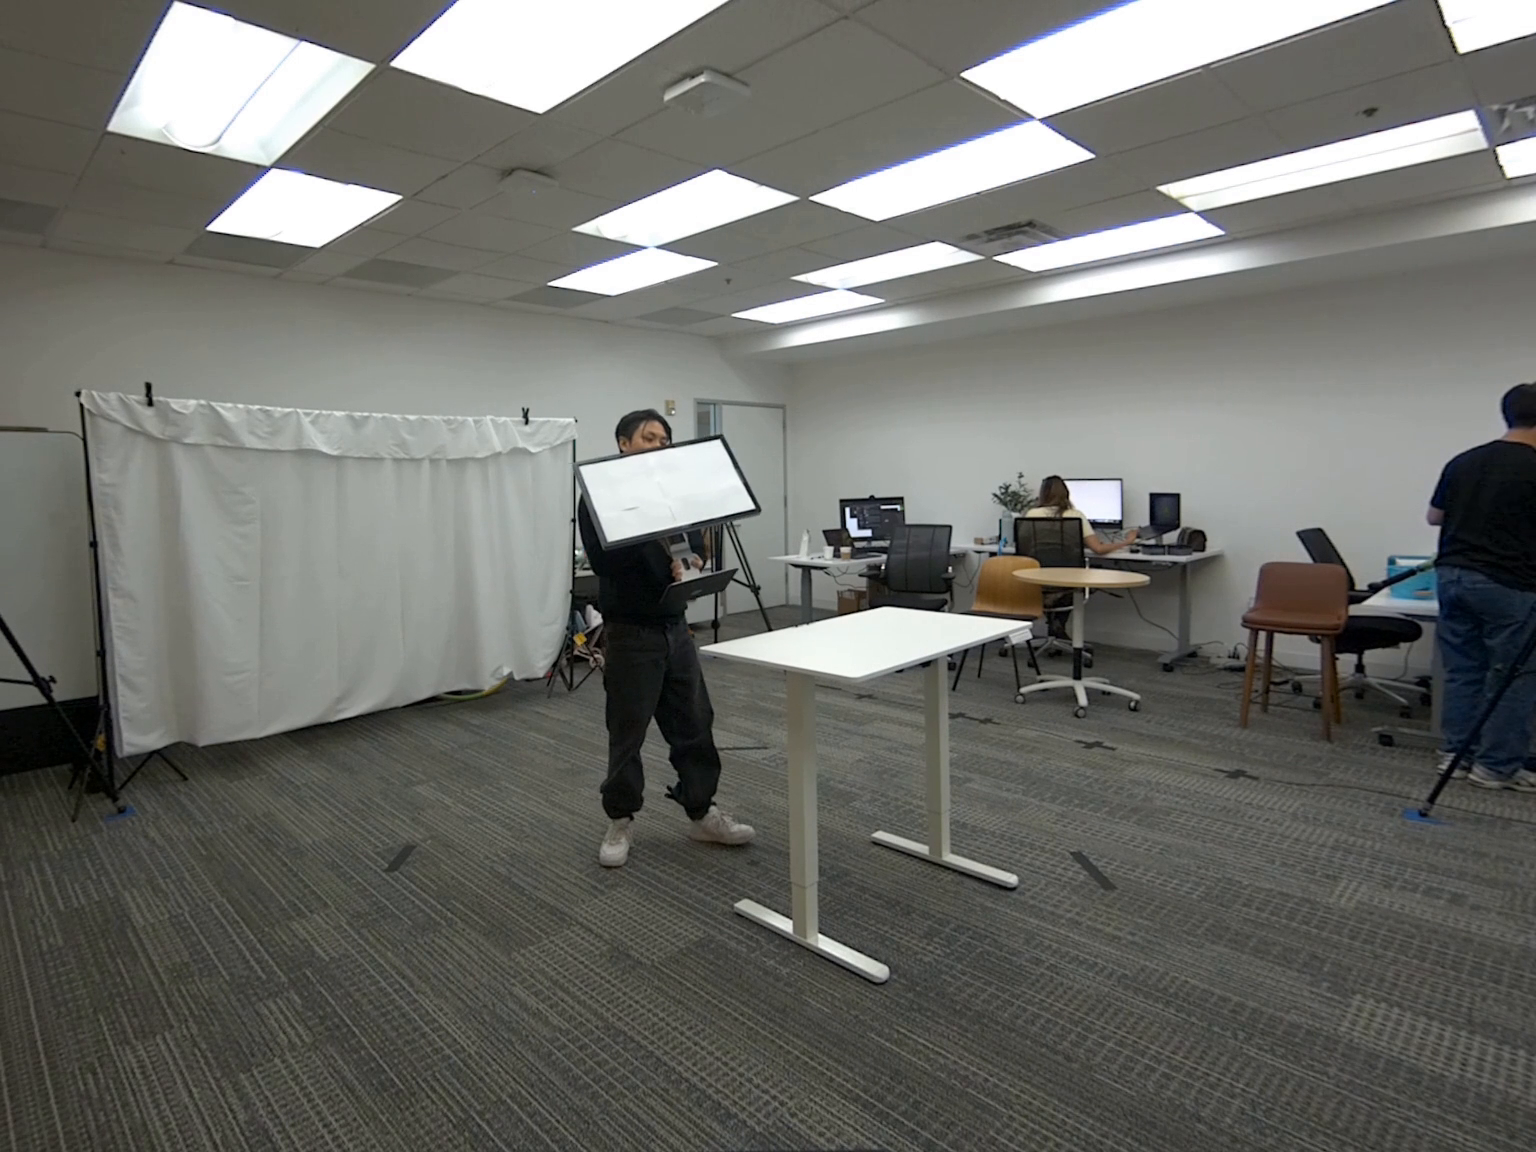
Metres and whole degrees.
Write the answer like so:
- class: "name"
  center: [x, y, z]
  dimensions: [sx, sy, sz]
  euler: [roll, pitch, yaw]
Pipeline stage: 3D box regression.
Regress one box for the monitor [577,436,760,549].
- class: "monitor"
  center: [-0.315, -0.198, 2.908]
  dimensions: [0.531, 0.534, 0.186]
  euler: [-14, -19, -21]
